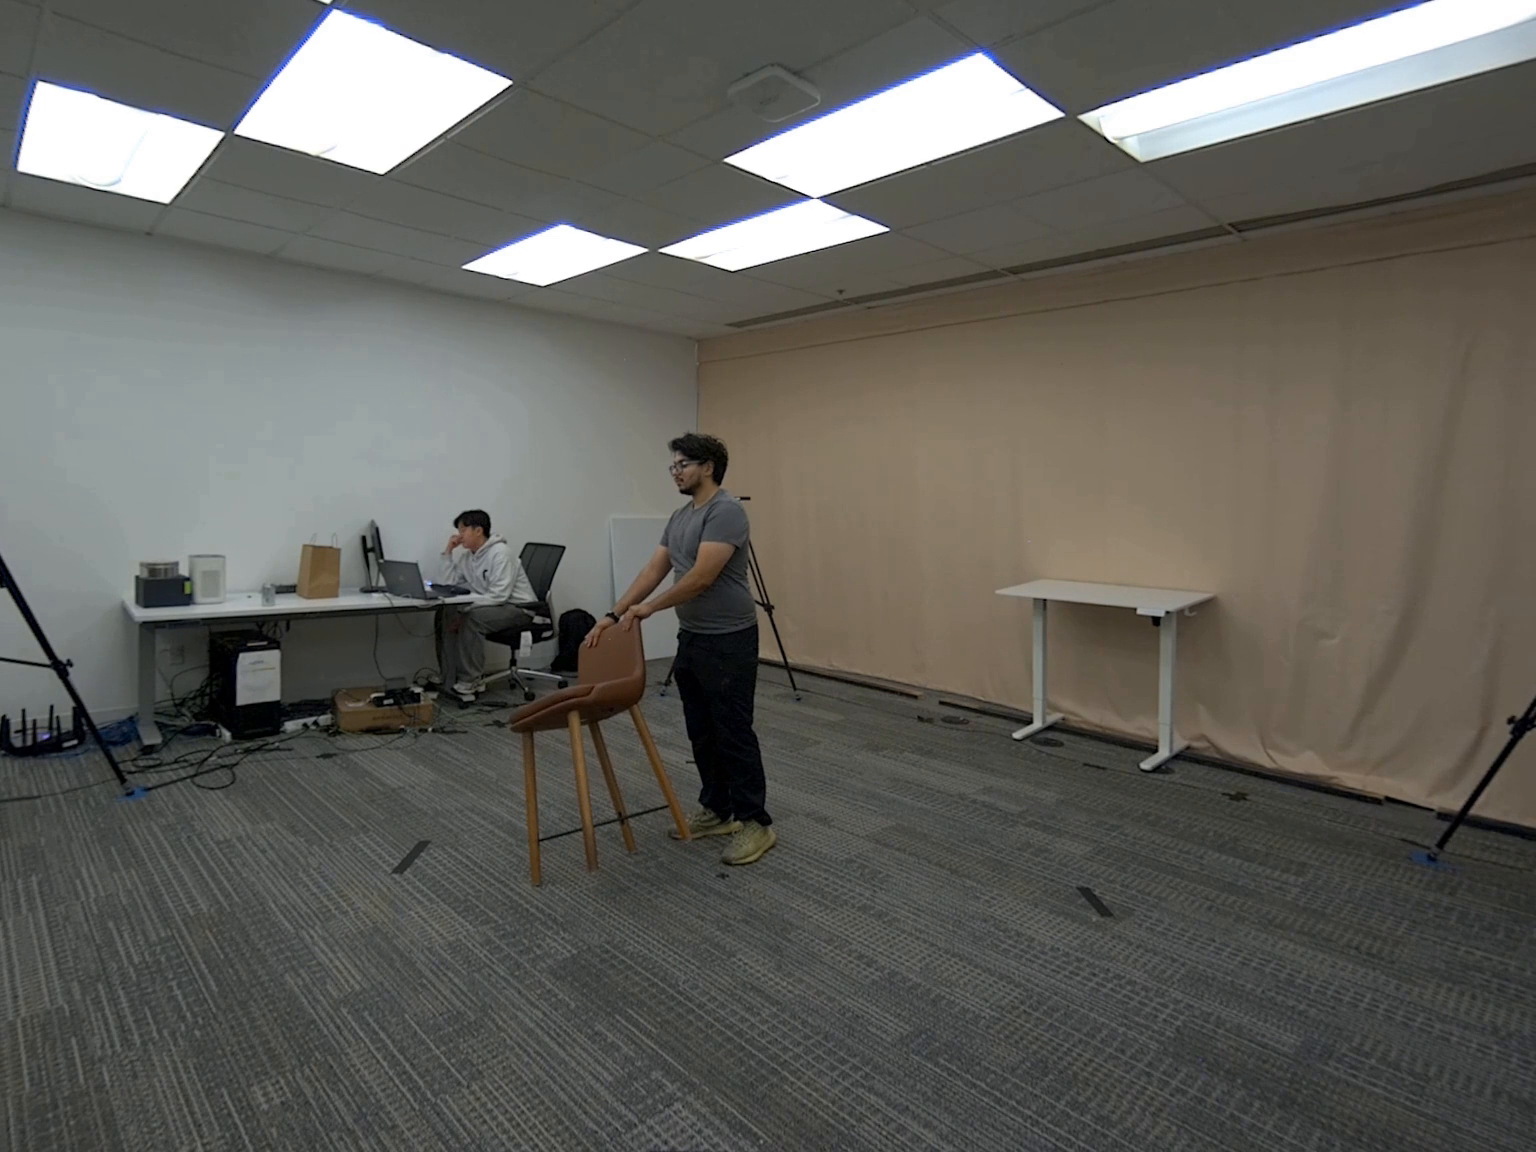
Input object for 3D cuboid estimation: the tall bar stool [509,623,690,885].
[{"bbox_3d":[-0.670,0.618,3.135,0.456,0.903,0.461,2,-22,-45],"label":"tall bar stool"}]
